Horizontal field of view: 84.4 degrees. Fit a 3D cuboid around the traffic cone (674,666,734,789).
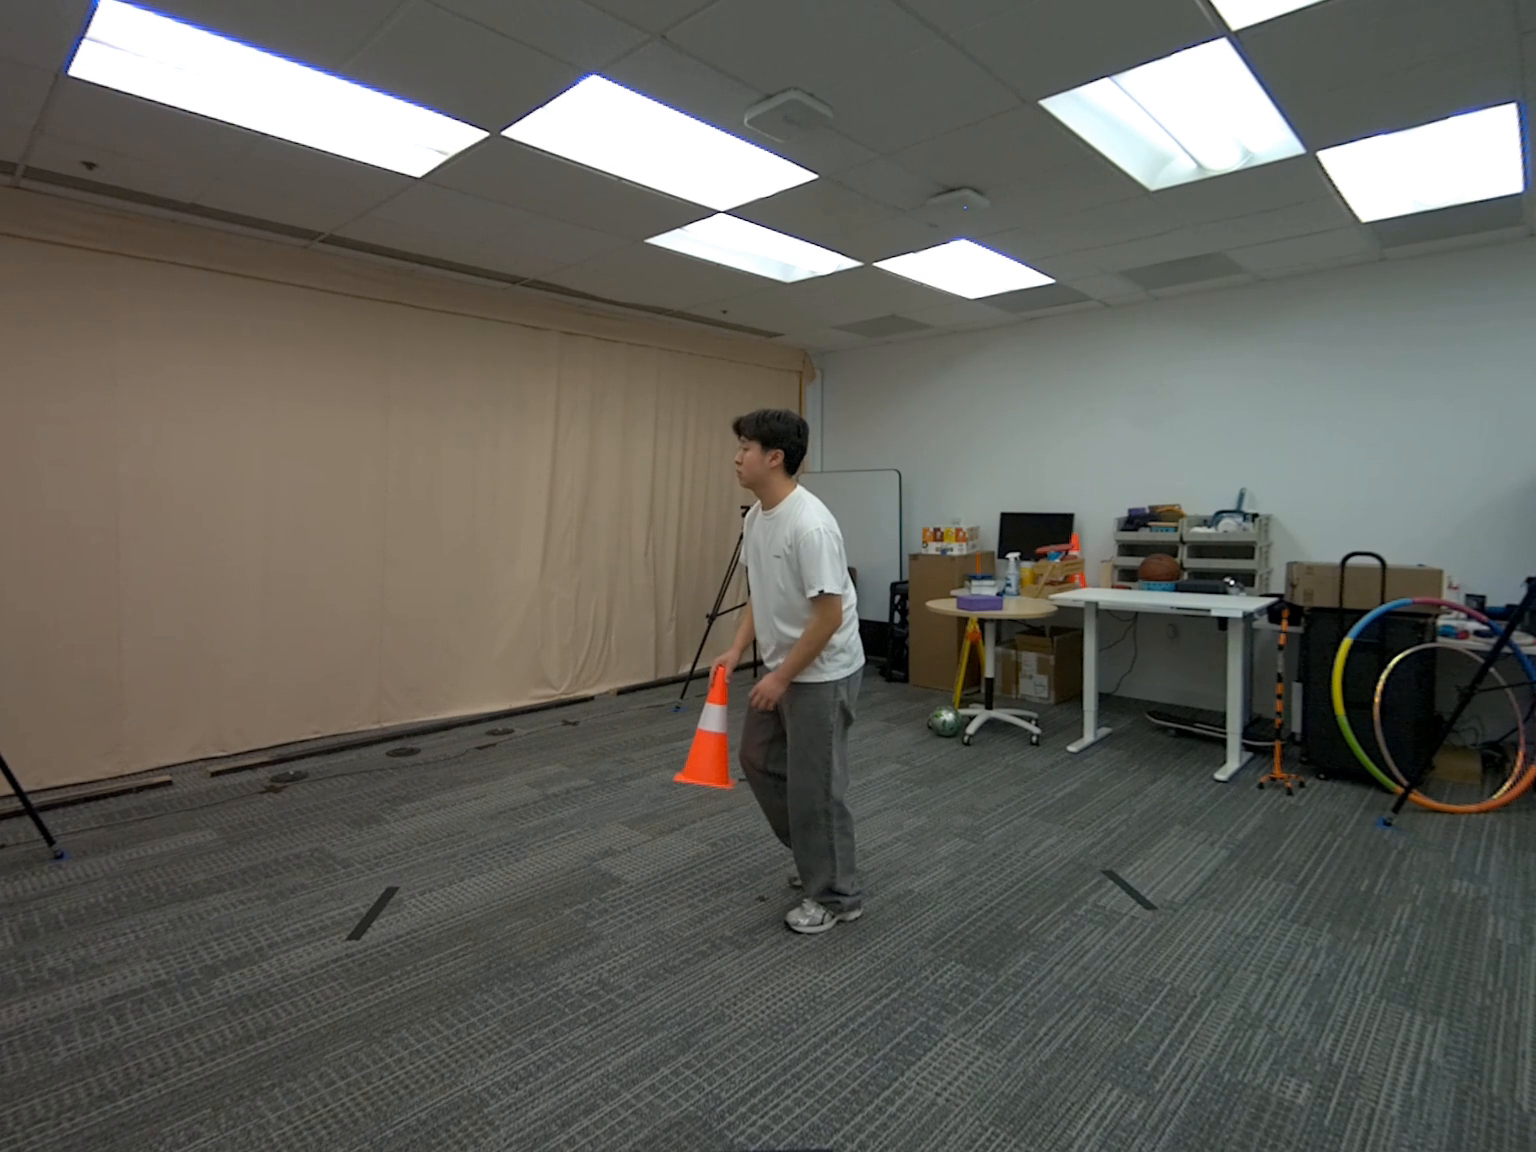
[{"bbox_3d":[-0.167,0.512,2.873,0.203,0.384,0.205,7,-4,-3],"label":"traffic cone"}]
